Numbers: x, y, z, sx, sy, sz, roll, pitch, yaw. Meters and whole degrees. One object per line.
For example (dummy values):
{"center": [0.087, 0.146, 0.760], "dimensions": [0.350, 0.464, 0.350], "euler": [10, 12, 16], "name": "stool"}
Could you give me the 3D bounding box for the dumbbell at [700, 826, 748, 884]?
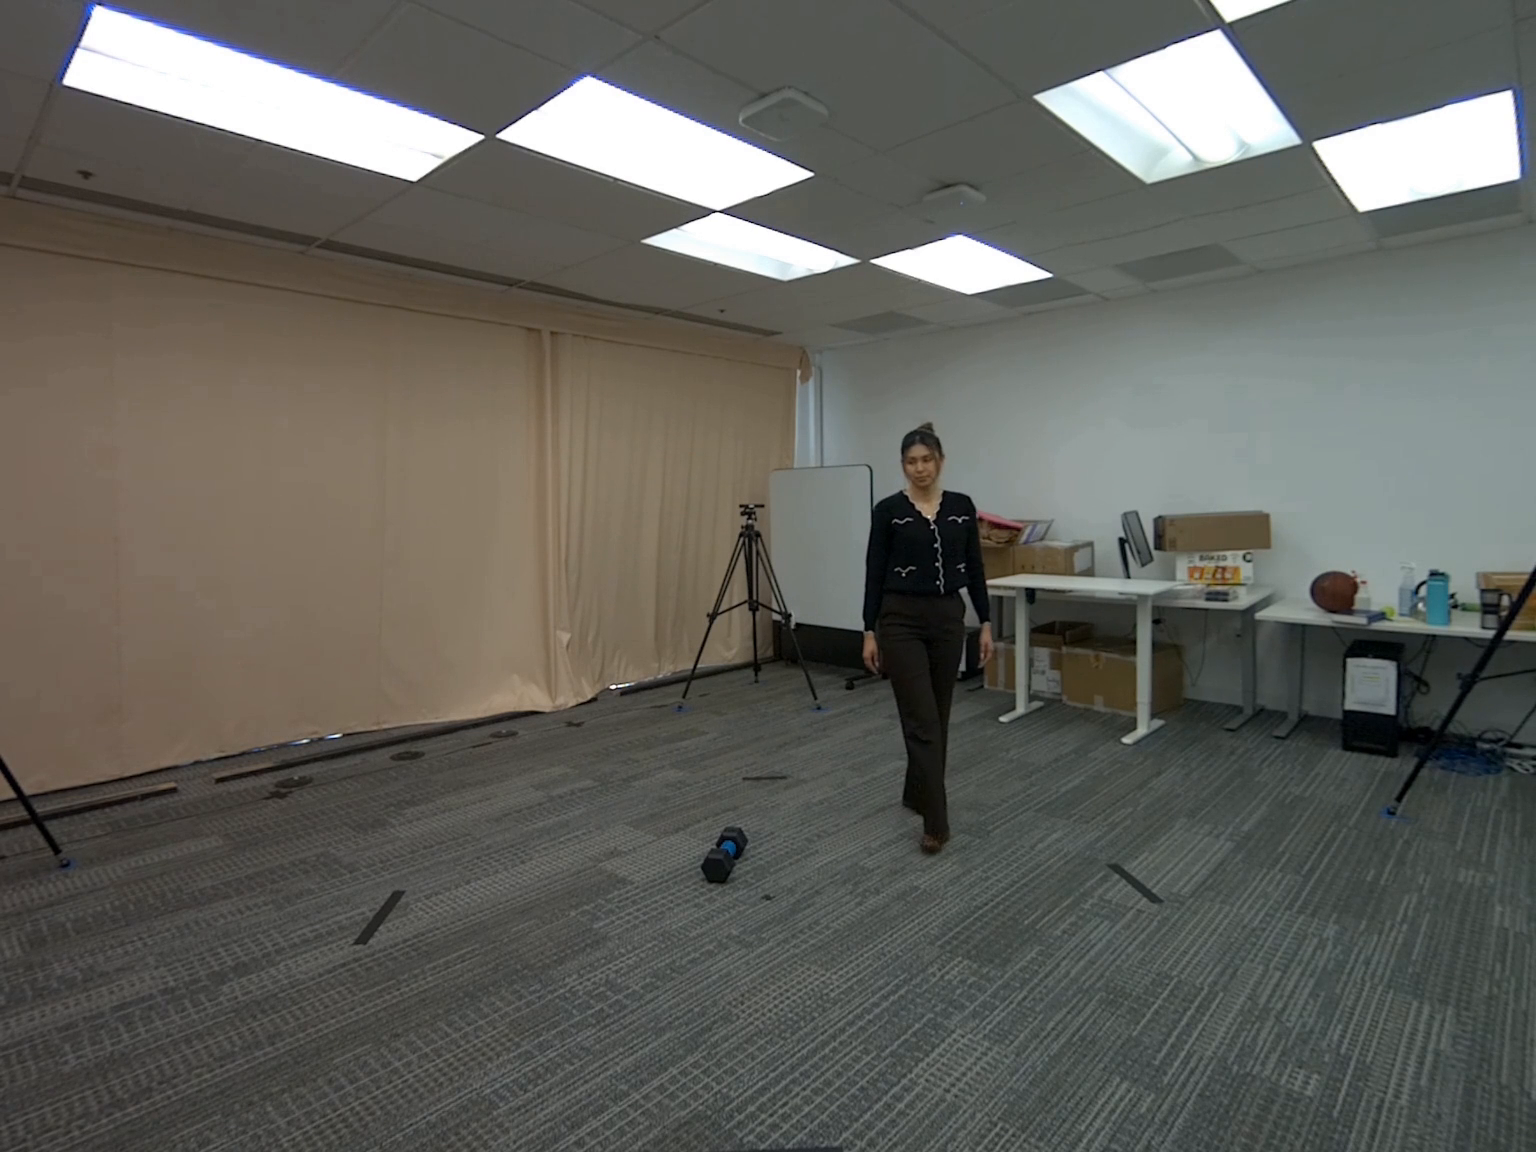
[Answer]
{"center": [-0.163, 1.065, 3.232], "dimensions": [0.110, 0.123, 0.290], "euler": [30, 11, 8], "name": "dumbbell"}
